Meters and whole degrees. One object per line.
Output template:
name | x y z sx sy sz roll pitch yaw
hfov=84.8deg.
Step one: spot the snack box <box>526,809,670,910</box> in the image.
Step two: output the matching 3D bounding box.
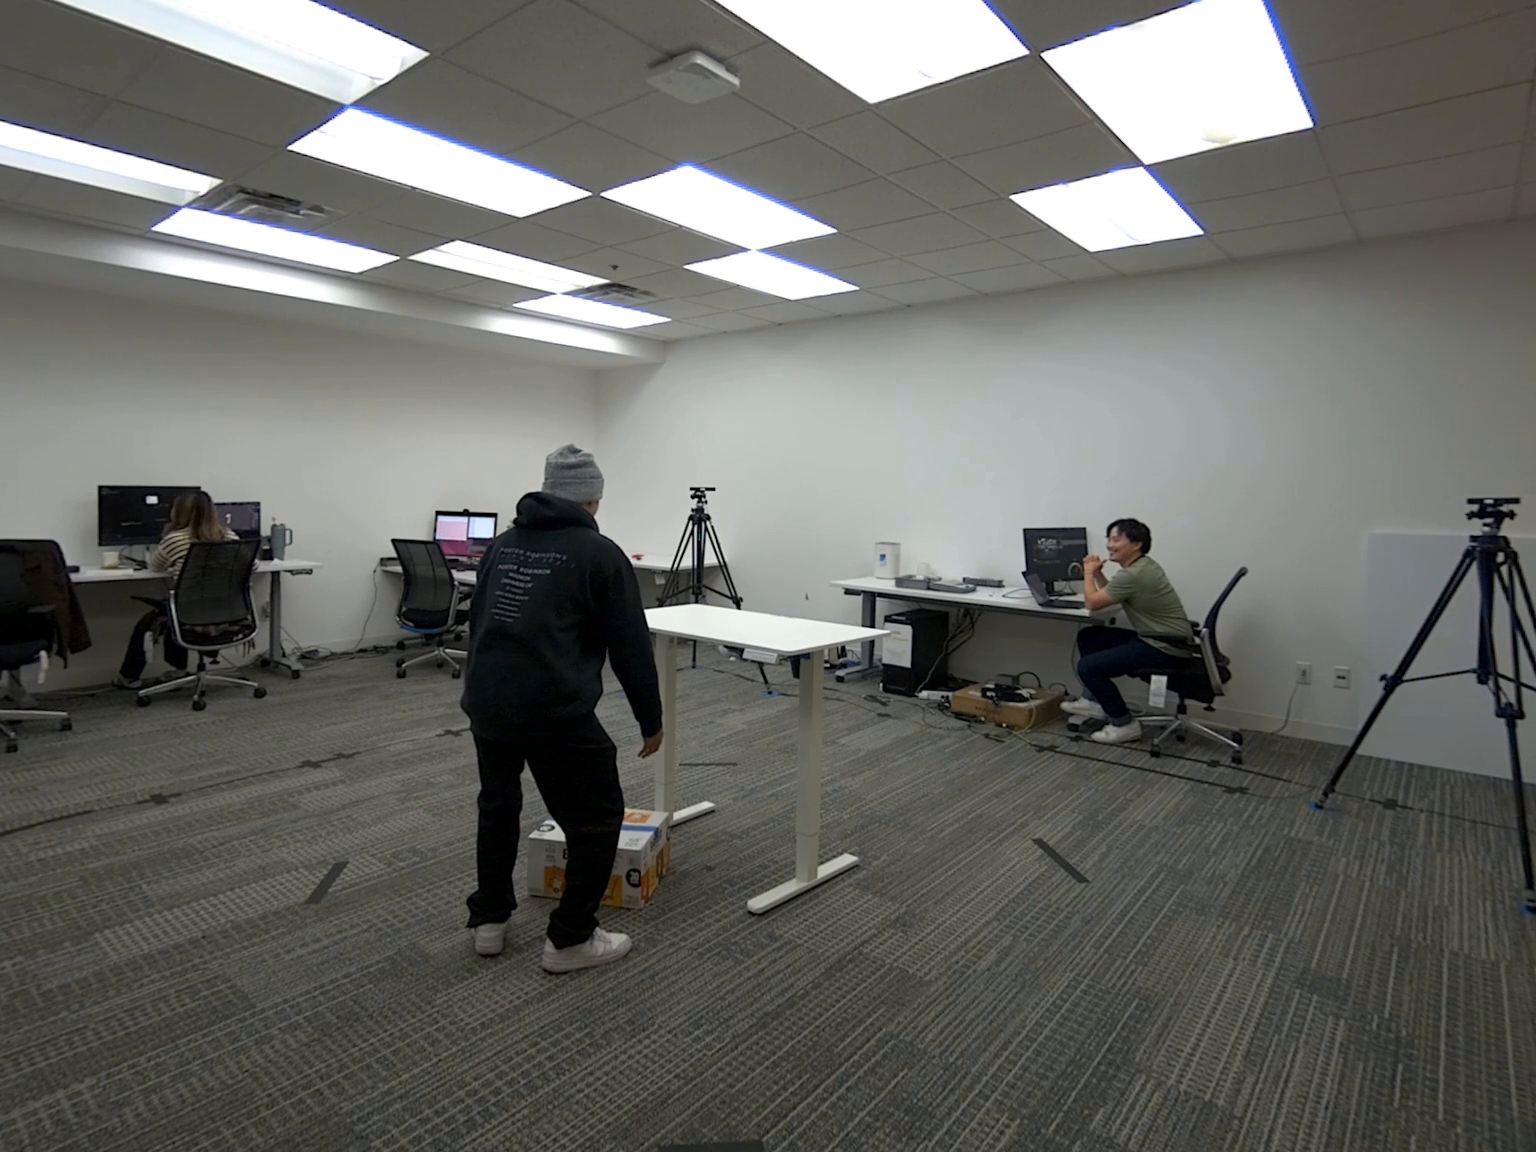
snack box | -0.596 0.971 2.985 0.411 0.205 0.337 2 4 12
